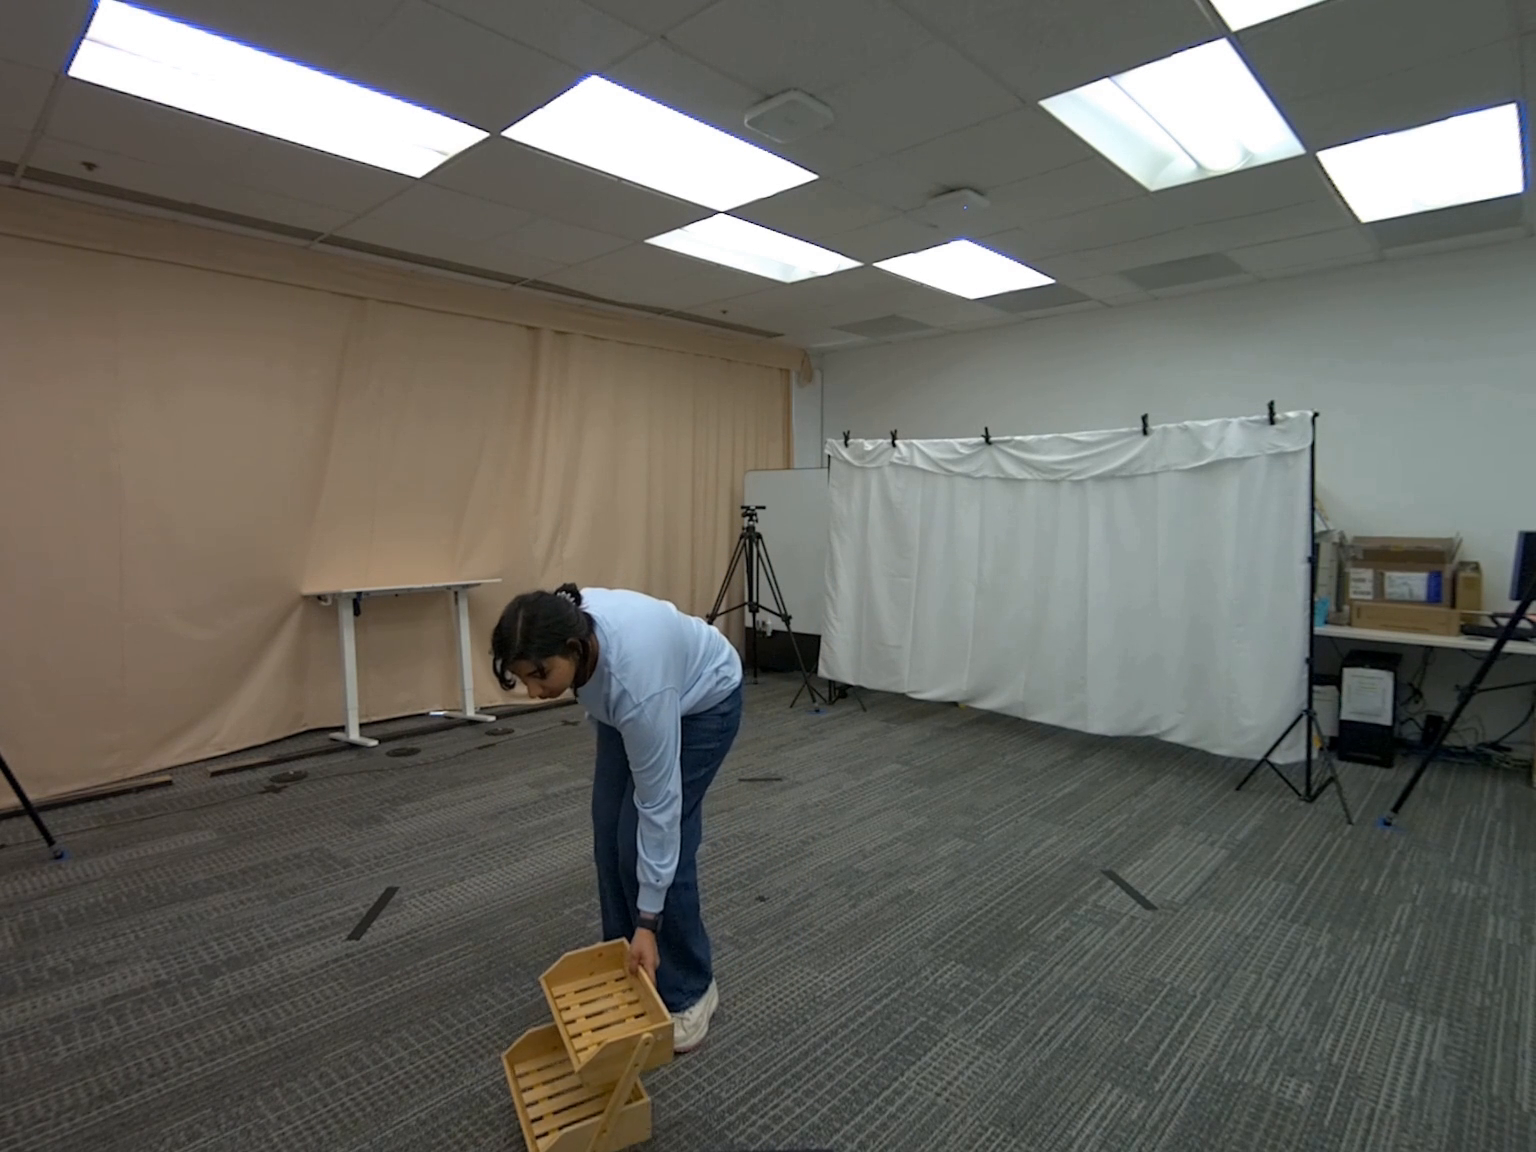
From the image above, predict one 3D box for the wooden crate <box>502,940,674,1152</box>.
[{"bbox_3d":[-0.420,1.027,1.817,0.295,0.272,0.334,-2,12,-27],"label":"wooden crate"}]
